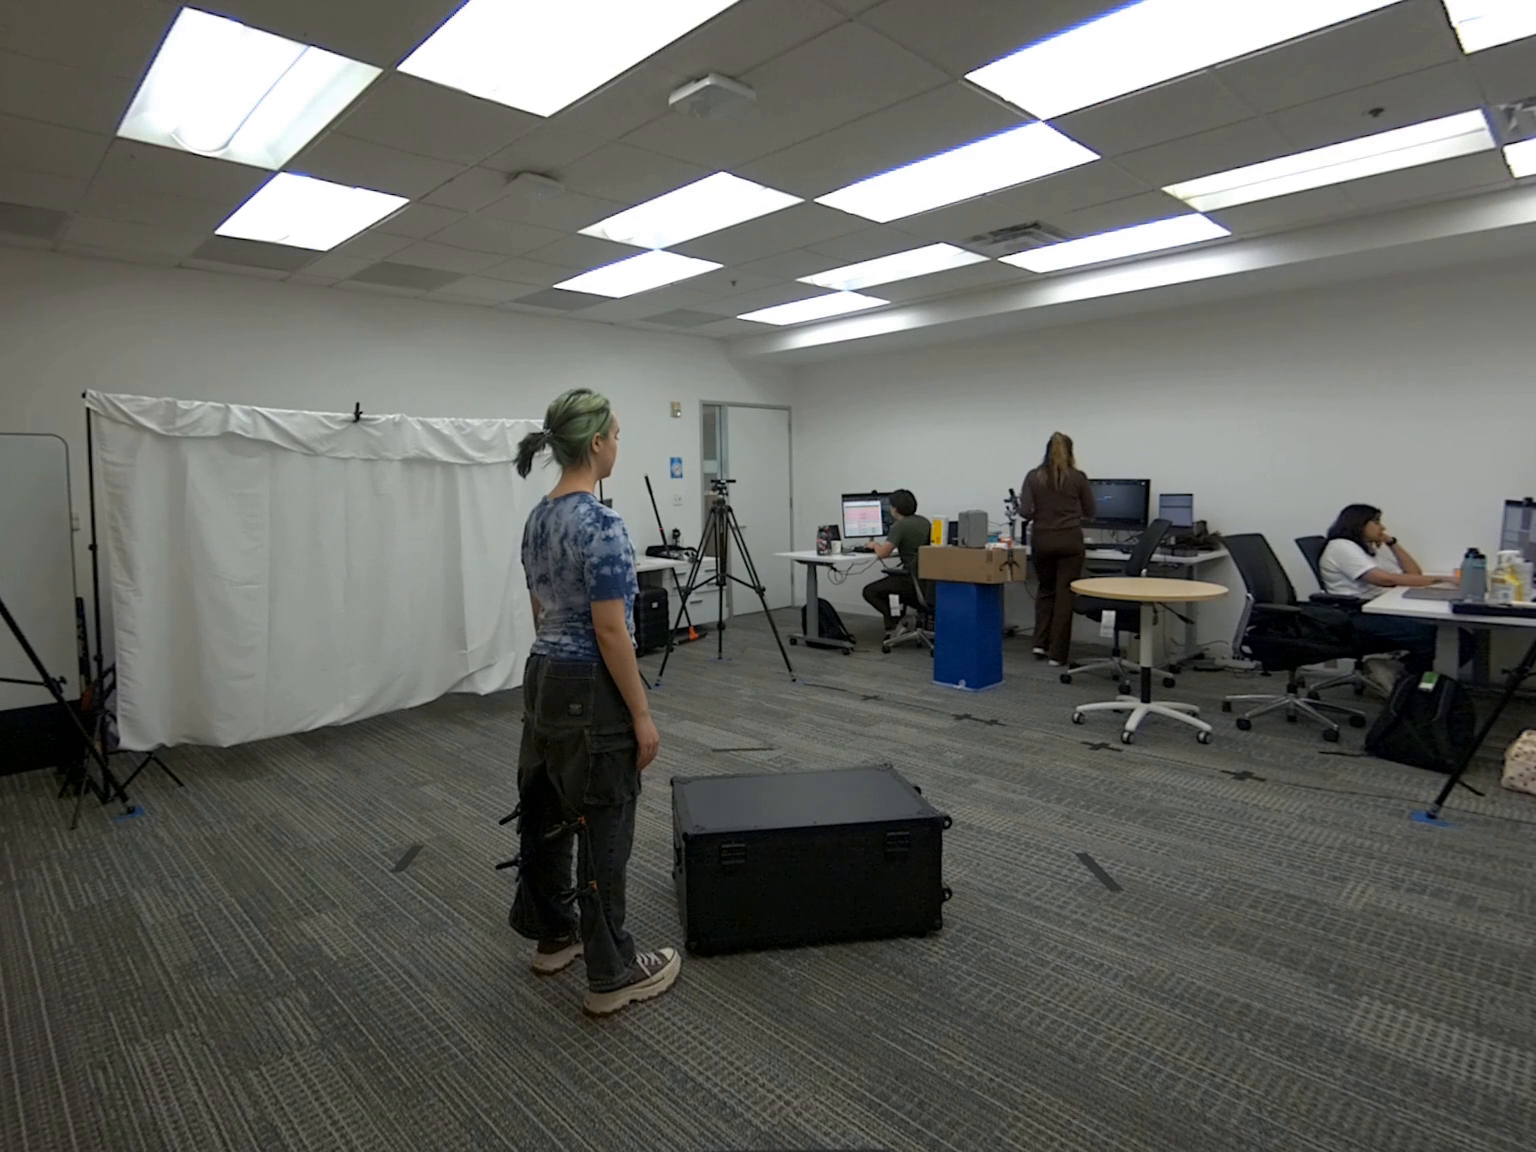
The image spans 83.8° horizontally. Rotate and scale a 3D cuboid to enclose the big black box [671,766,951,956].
[{"bbox_3d":[0.075,0.892,2.765,0.855,0.395,0.527,-2,5,-8],"label":"big black box"}]
